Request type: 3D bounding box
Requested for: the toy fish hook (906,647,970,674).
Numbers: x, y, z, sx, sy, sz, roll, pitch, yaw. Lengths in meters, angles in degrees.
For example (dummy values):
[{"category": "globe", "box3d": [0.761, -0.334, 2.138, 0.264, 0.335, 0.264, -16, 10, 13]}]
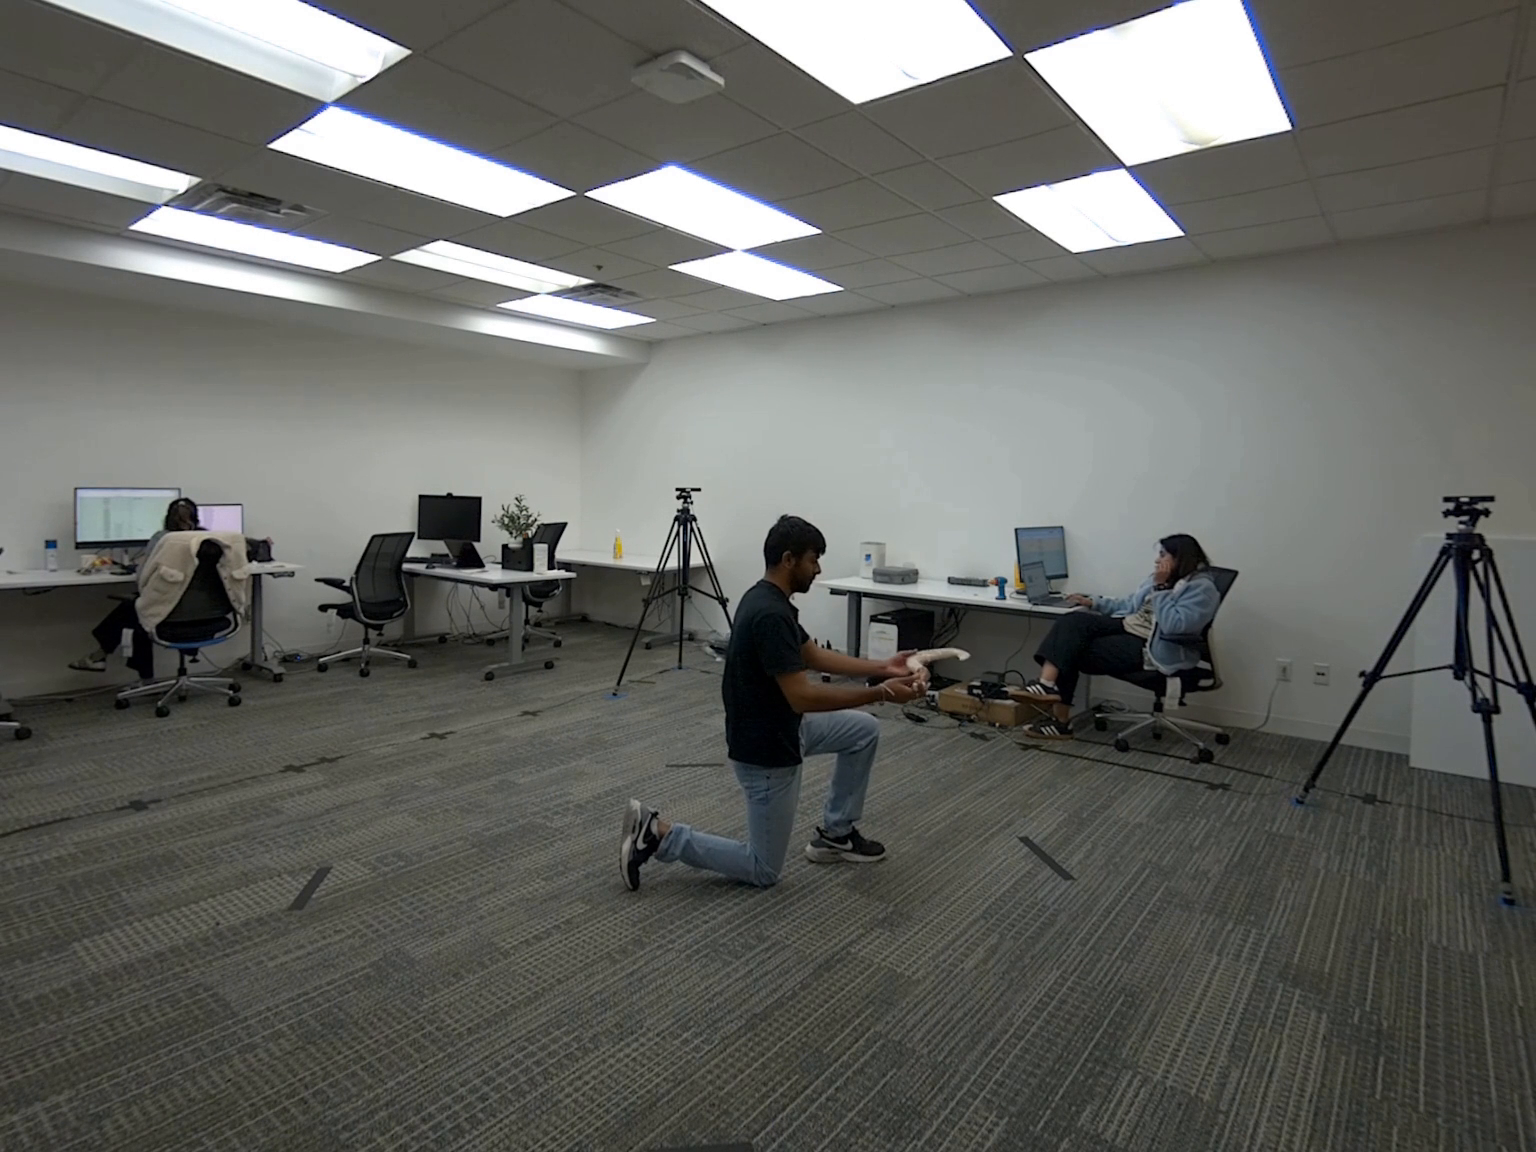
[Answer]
[{"category": "toy fish hook", "box3d": [0.559, 0.315, 2.939, 0.226, 0.048, 0.504, -16, 5, 10]}]
